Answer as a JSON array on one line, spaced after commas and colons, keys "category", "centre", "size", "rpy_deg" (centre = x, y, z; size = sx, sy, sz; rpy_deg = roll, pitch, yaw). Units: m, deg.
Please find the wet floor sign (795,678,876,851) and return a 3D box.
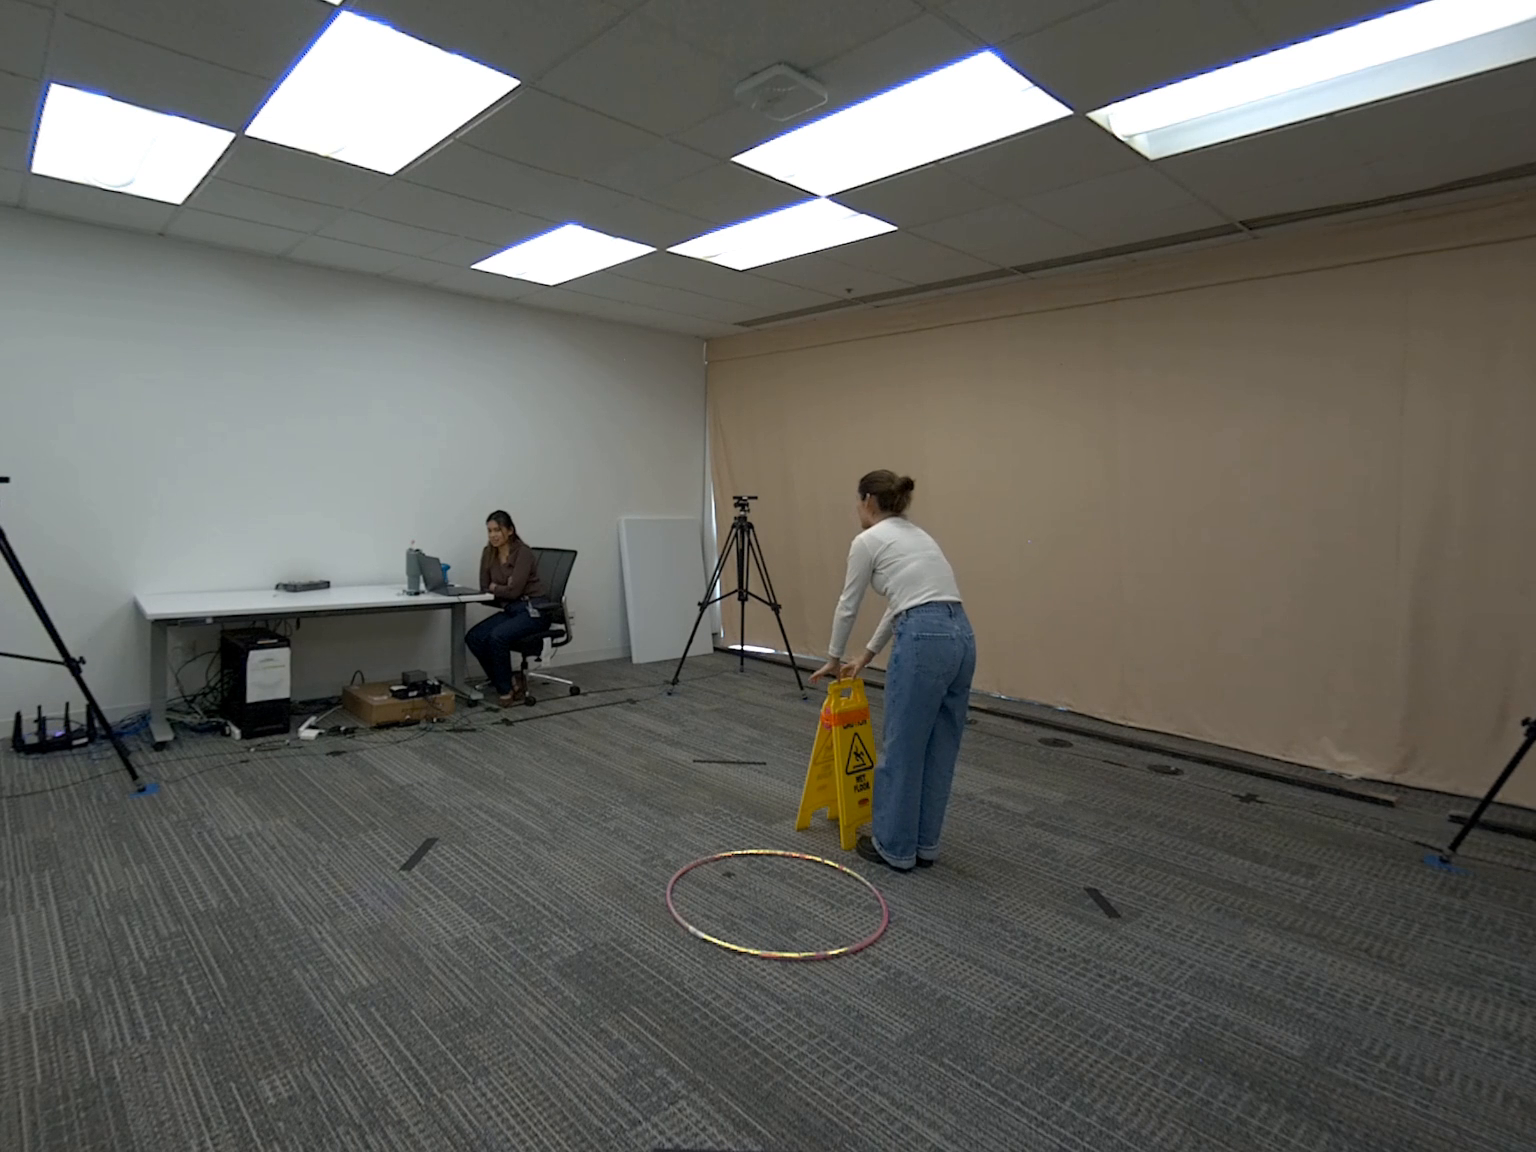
[{"category": "wet floor sign", "centre": [0.305, 0.754, 3.520], "size": [0.275, 0.645, 0.297], "rpy_deg": [0, 2, -44]}]
